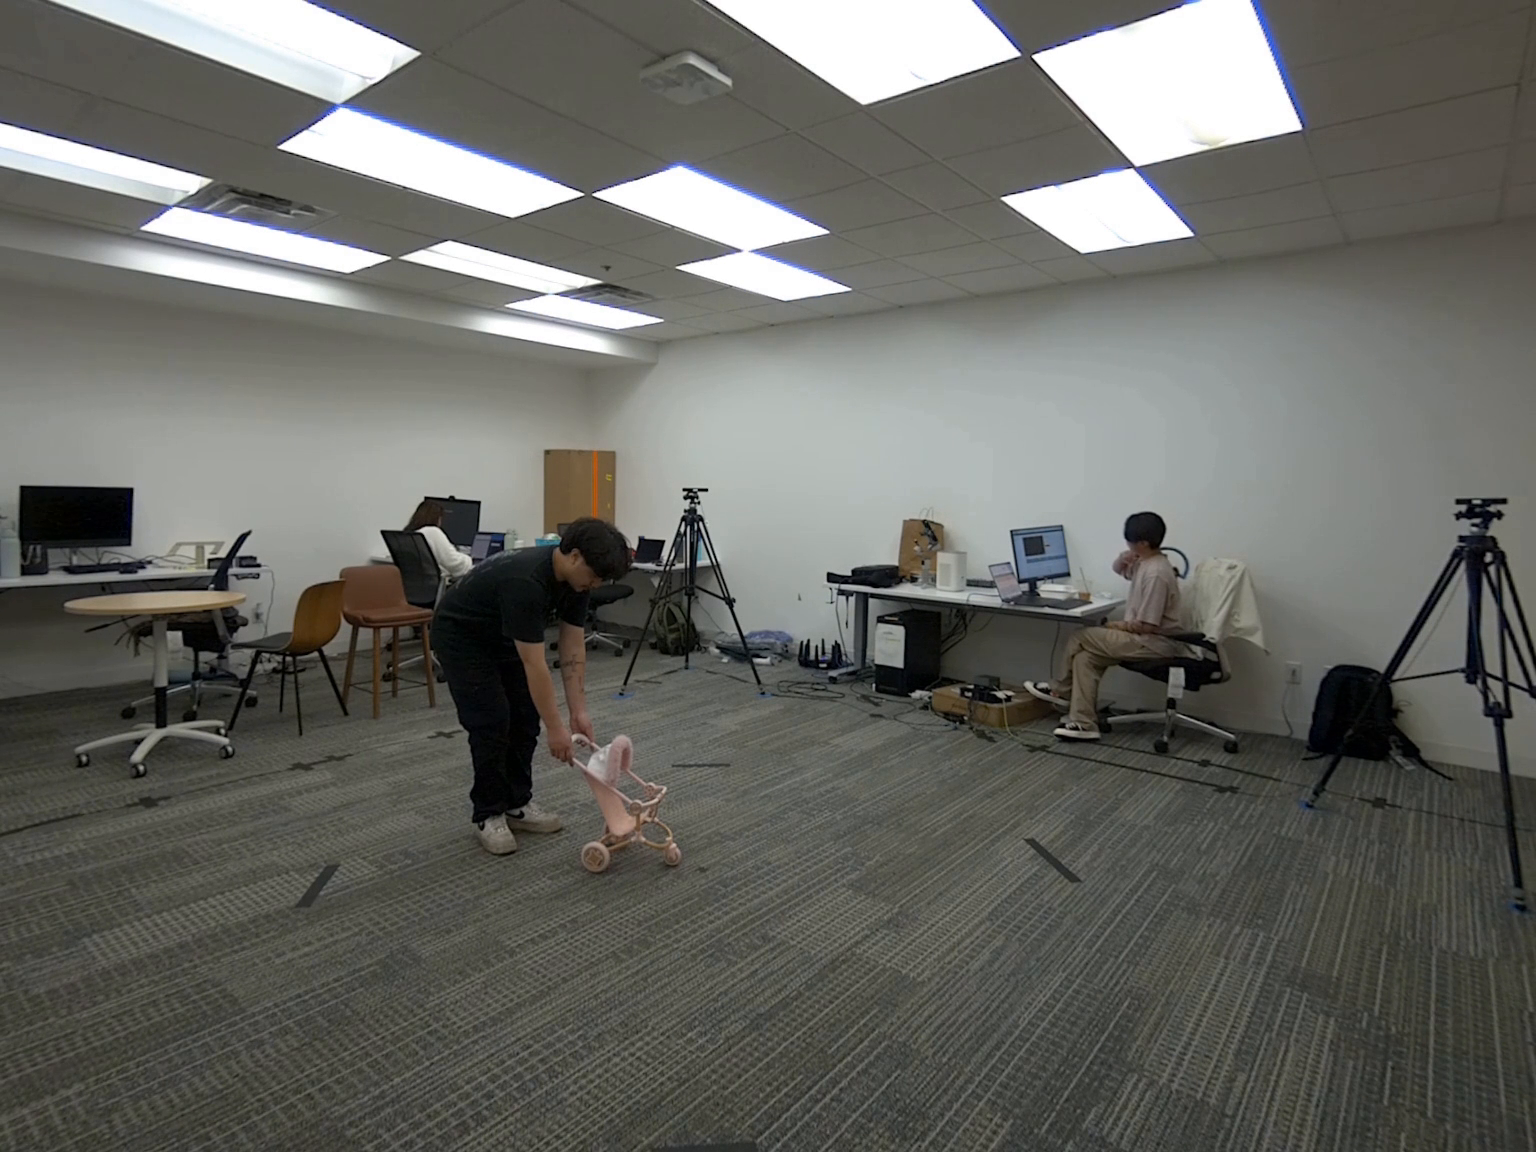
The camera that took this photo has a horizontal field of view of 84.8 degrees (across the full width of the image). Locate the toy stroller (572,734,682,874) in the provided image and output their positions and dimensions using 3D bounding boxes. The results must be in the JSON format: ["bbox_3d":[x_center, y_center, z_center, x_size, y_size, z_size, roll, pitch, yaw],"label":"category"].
[{"bbox_3d":[-0.550,0.835,3.164,0.346,0.535,0.278,-14,0,15],"label":"toy stroller"}]
